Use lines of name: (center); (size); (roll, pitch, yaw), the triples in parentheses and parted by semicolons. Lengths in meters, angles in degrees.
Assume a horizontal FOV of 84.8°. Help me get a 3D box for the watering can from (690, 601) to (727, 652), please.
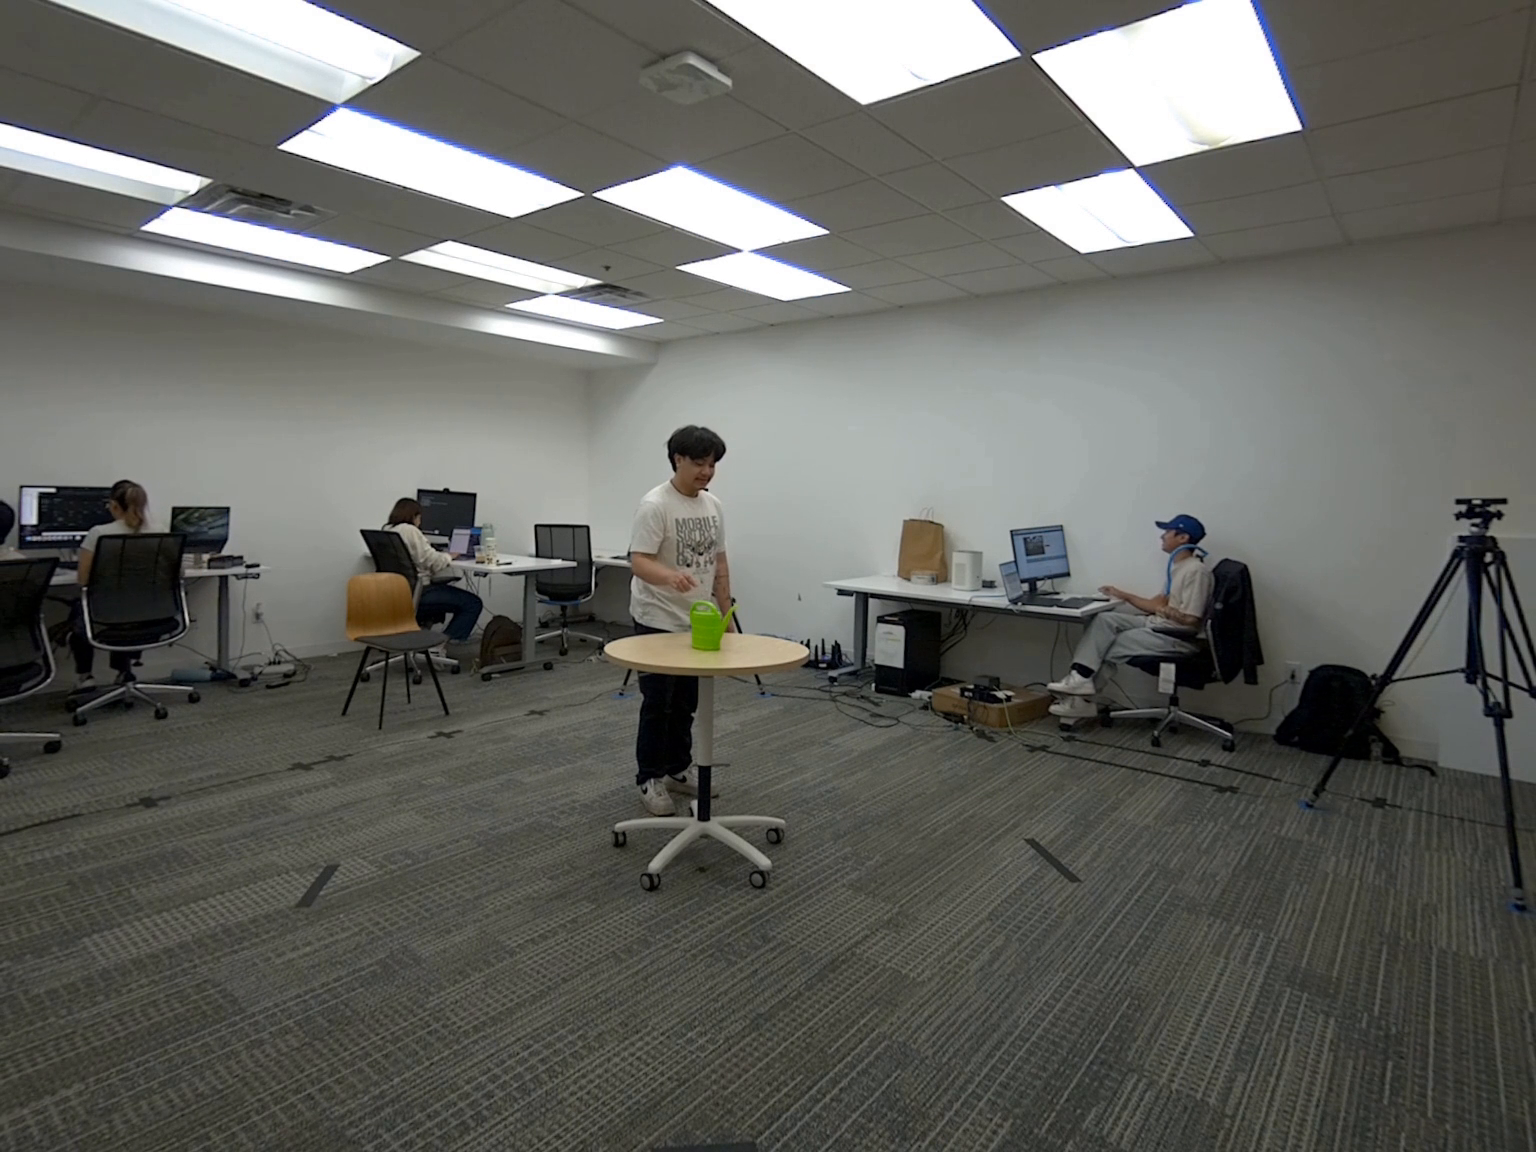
watering can: (-0.229, 0.183, 3.159); (0.096, 0.176, 0.285); (-4, 4, -26)
